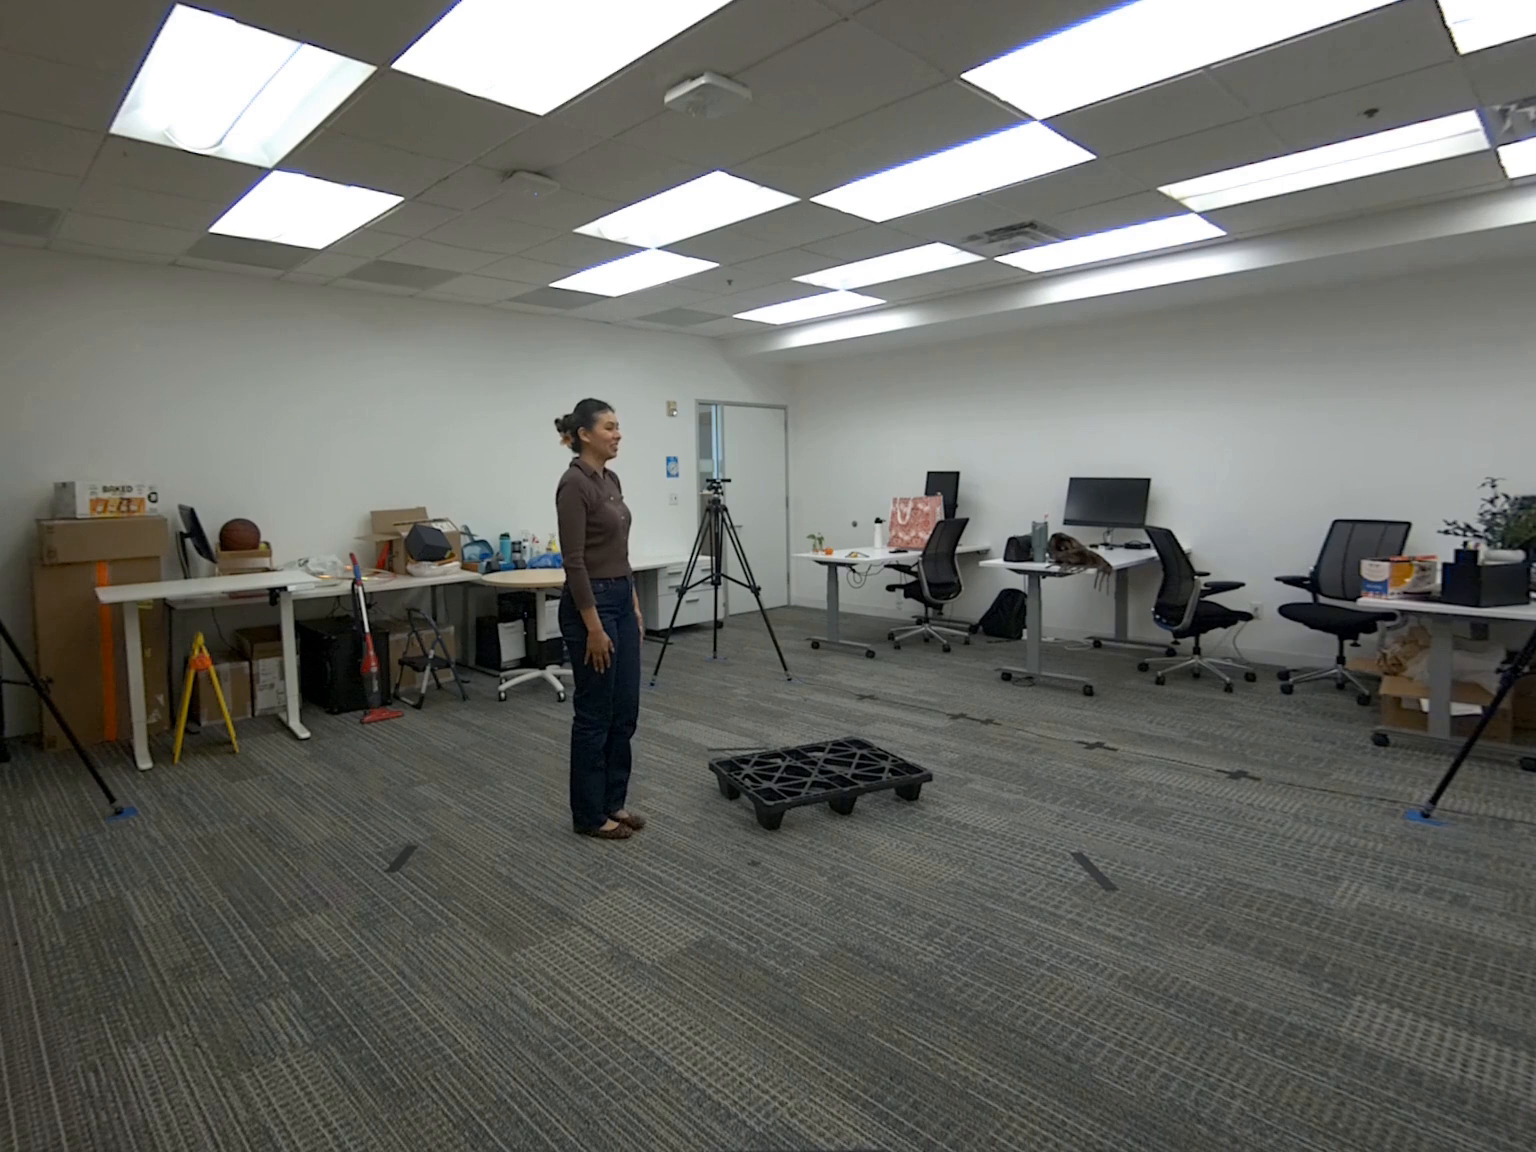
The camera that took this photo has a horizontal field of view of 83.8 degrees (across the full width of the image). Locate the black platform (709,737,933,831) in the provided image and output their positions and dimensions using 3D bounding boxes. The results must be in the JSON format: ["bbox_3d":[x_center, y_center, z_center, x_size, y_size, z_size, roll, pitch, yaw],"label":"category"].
[{"bbox_3d":[0.215,0.901,3.753,0.789,0.143,0.620,-4,6,-26],"label":"black platform"}]
